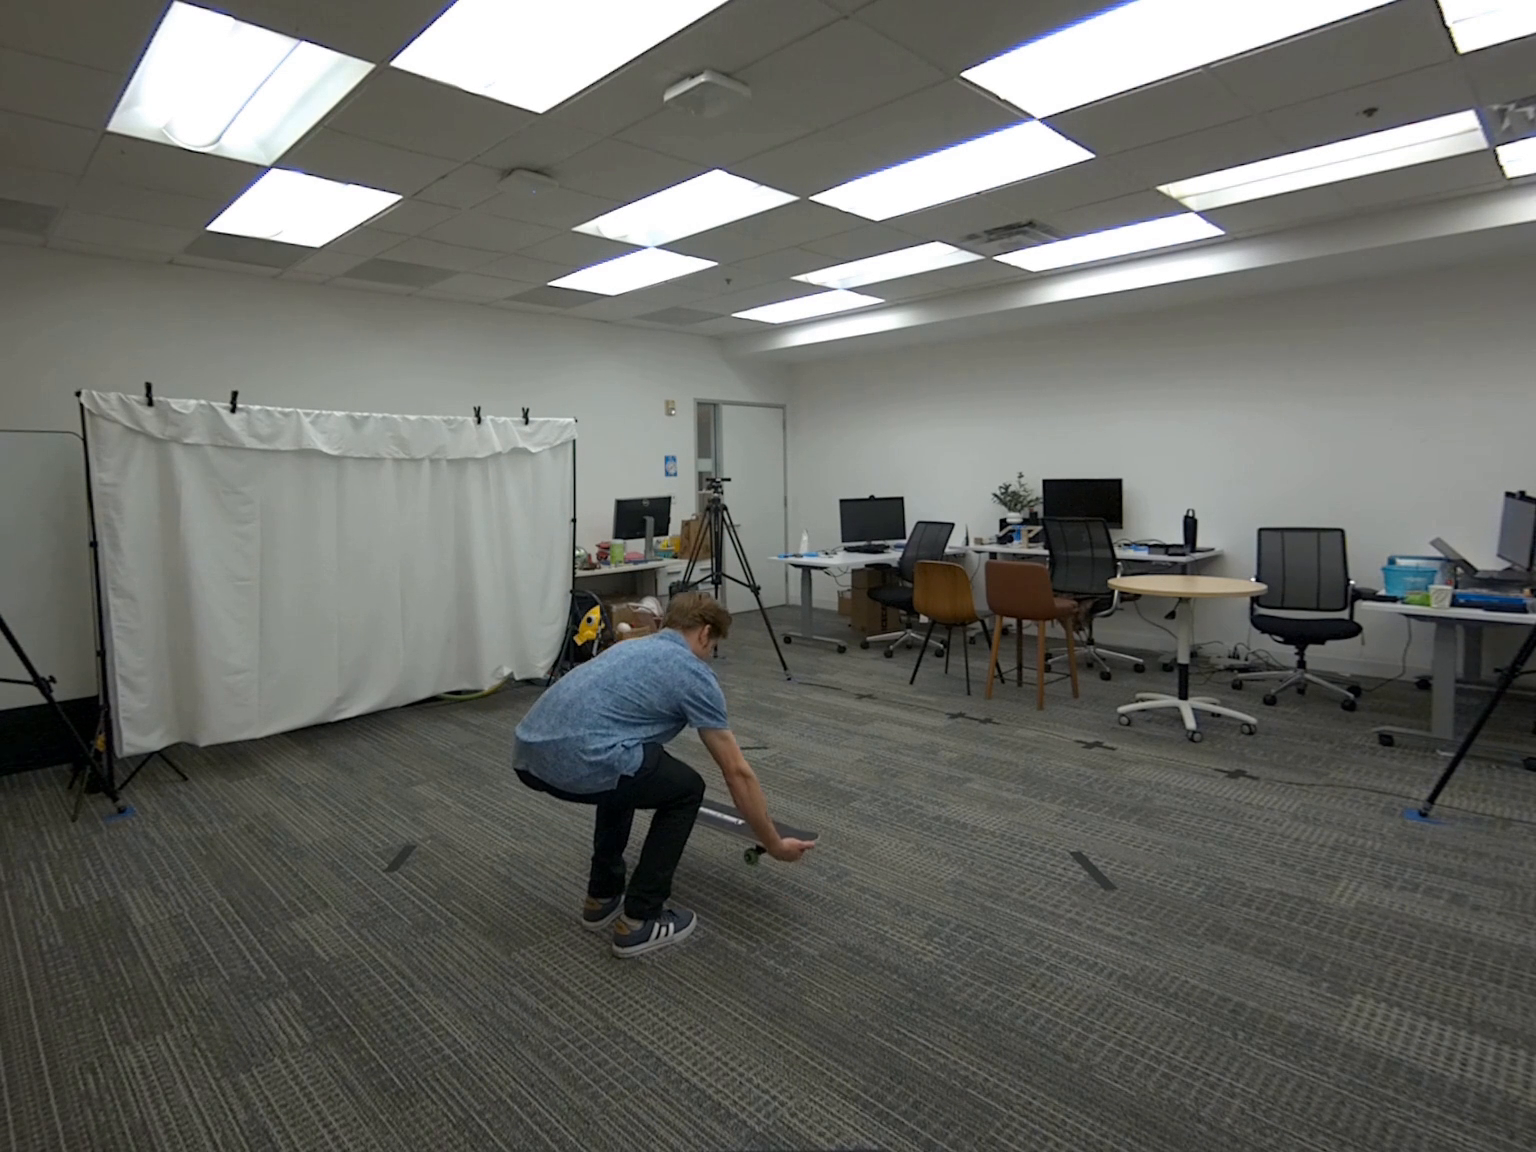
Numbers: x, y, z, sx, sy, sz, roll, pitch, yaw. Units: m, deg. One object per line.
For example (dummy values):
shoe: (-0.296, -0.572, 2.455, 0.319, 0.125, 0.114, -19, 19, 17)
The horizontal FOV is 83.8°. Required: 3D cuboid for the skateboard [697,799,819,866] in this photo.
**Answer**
skateboard: (-0.168, 0.865, 2.963, 0.809, 0.110, 0.188, 5, 5, 39)
